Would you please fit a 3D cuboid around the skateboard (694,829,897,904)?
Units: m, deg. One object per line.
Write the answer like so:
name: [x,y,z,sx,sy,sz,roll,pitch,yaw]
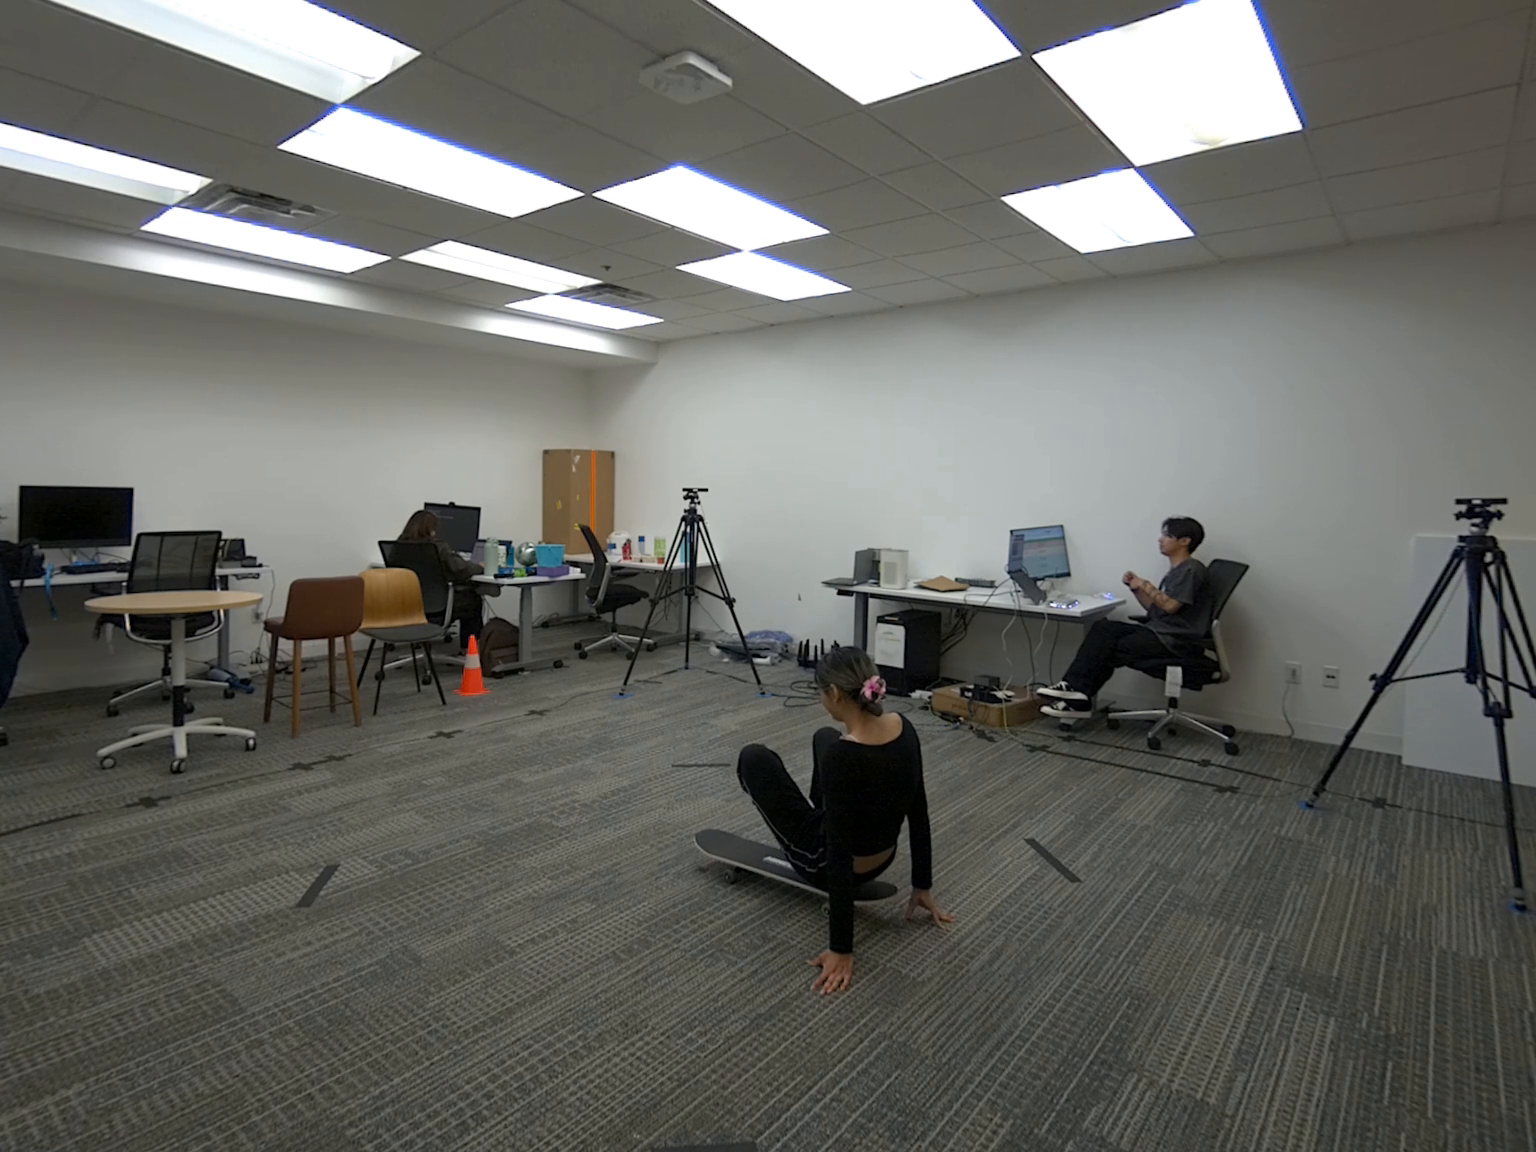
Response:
skateboard: [0.067,1.035,2.958,0.811,0.110,0.188,6,8,35]
